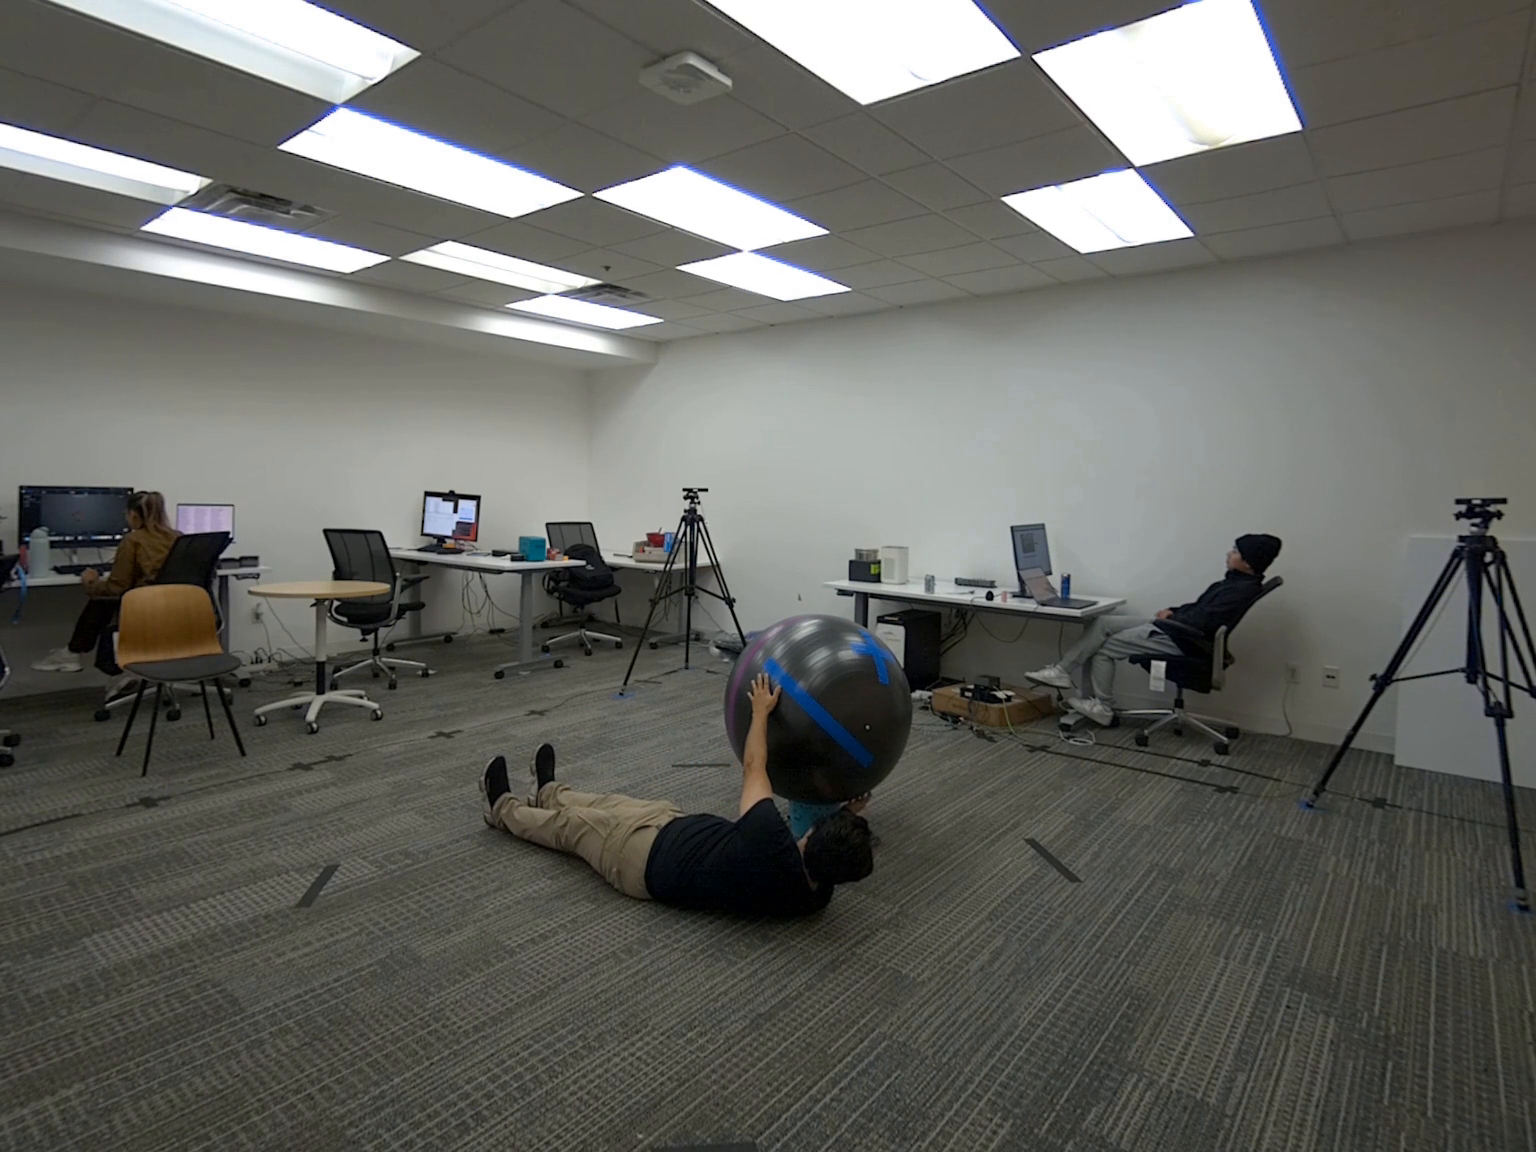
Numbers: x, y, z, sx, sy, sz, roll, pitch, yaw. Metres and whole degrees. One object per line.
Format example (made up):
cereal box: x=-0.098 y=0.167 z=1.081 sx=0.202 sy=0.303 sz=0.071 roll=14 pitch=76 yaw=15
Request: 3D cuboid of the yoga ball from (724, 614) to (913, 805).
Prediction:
yoga ball: x=0.191 y=0.537 z=3.460 sx=0.757 sy=0.756 sz=0.761 roll=0 pitch=4 yaw=-2
